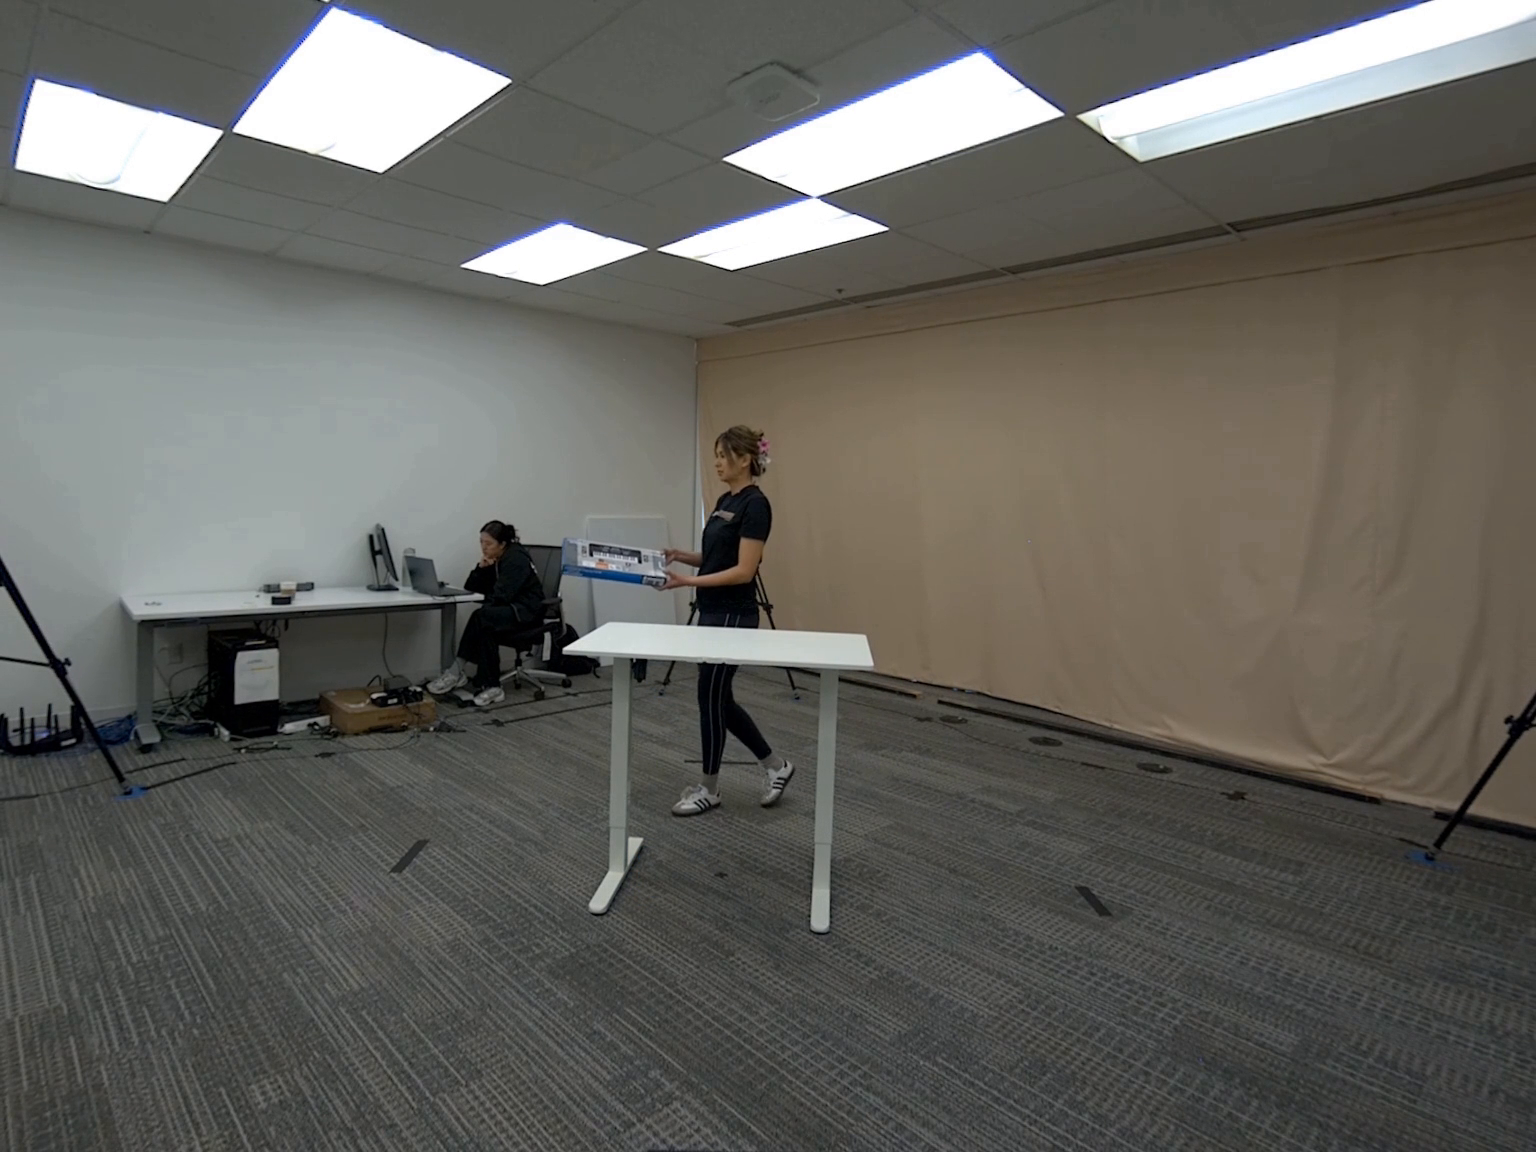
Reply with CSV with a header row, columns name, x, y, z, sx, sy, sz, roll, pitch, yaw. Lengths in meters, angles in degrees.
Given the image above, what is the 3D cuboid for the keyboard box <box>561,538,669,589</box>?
name,x,y,z,sx,sy,sz,roll,pitch,yaw
keyboard box,-0.656,-0.054,3.552,0.430,0.058,0.180,8,38,-17
